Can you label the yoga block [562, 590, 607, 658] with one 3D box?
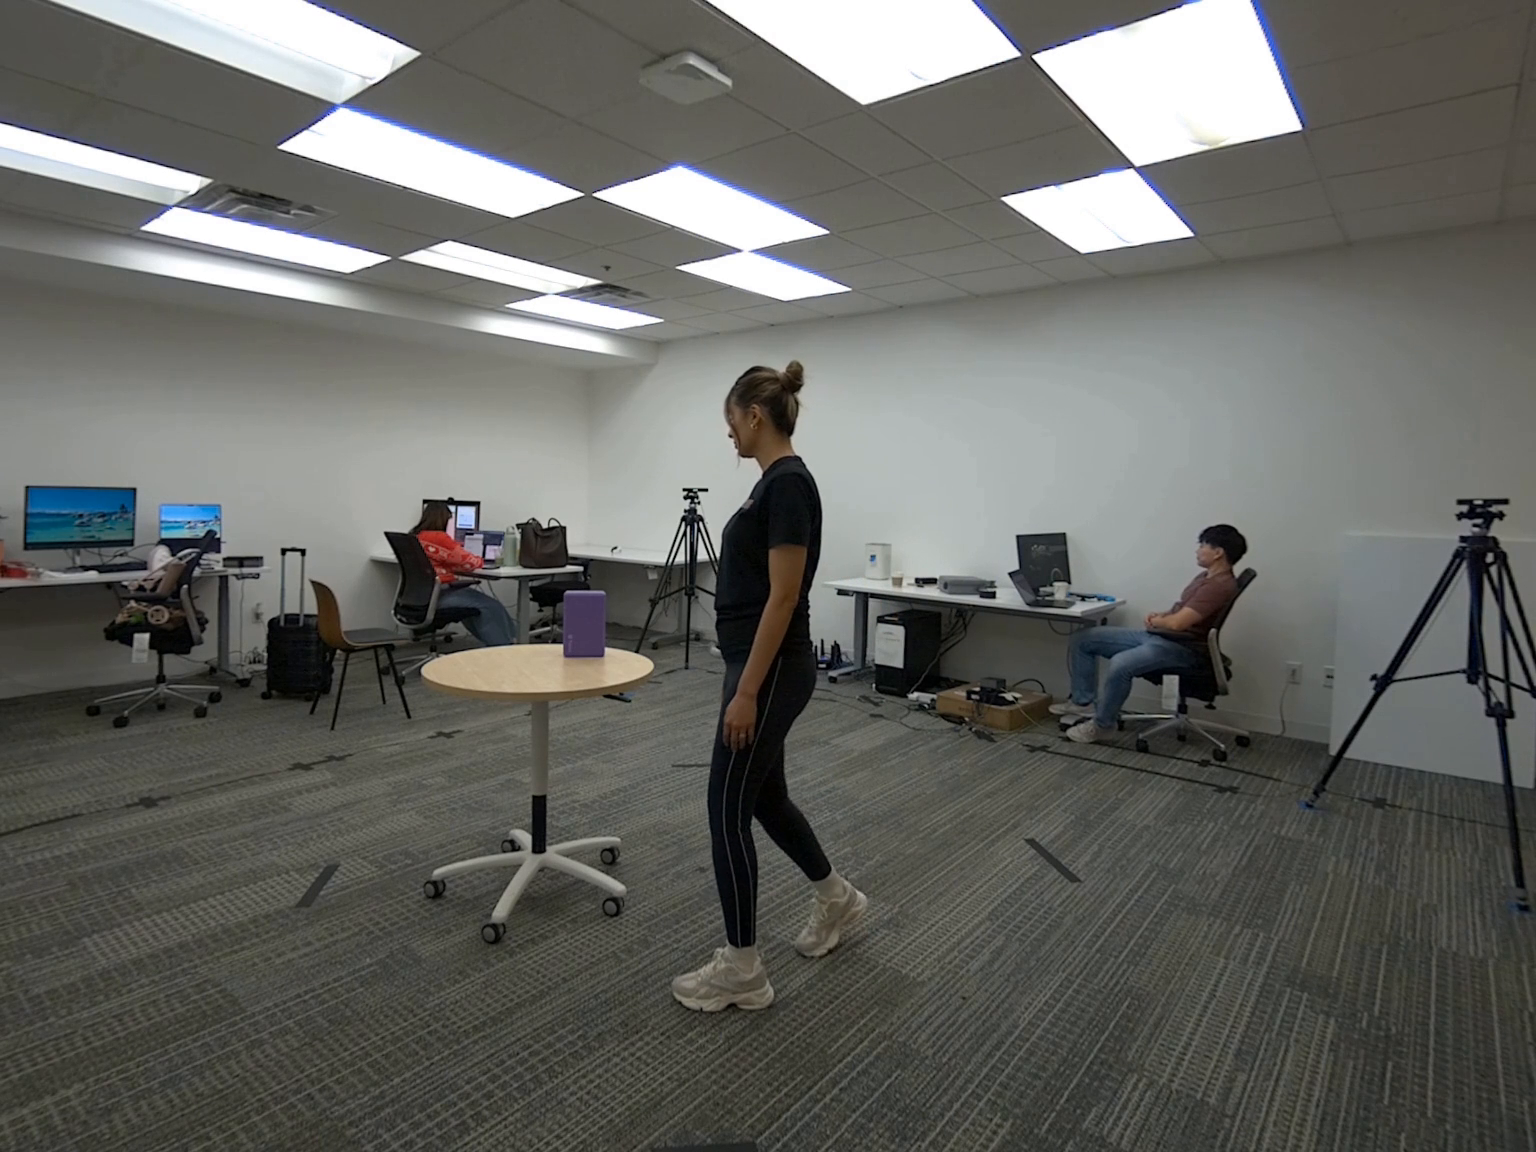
[{"bbox_3d":[-0.669,0.171,3.047,0.148,0.229,0.077,8,3,-3],"label":"yoga block"}]
